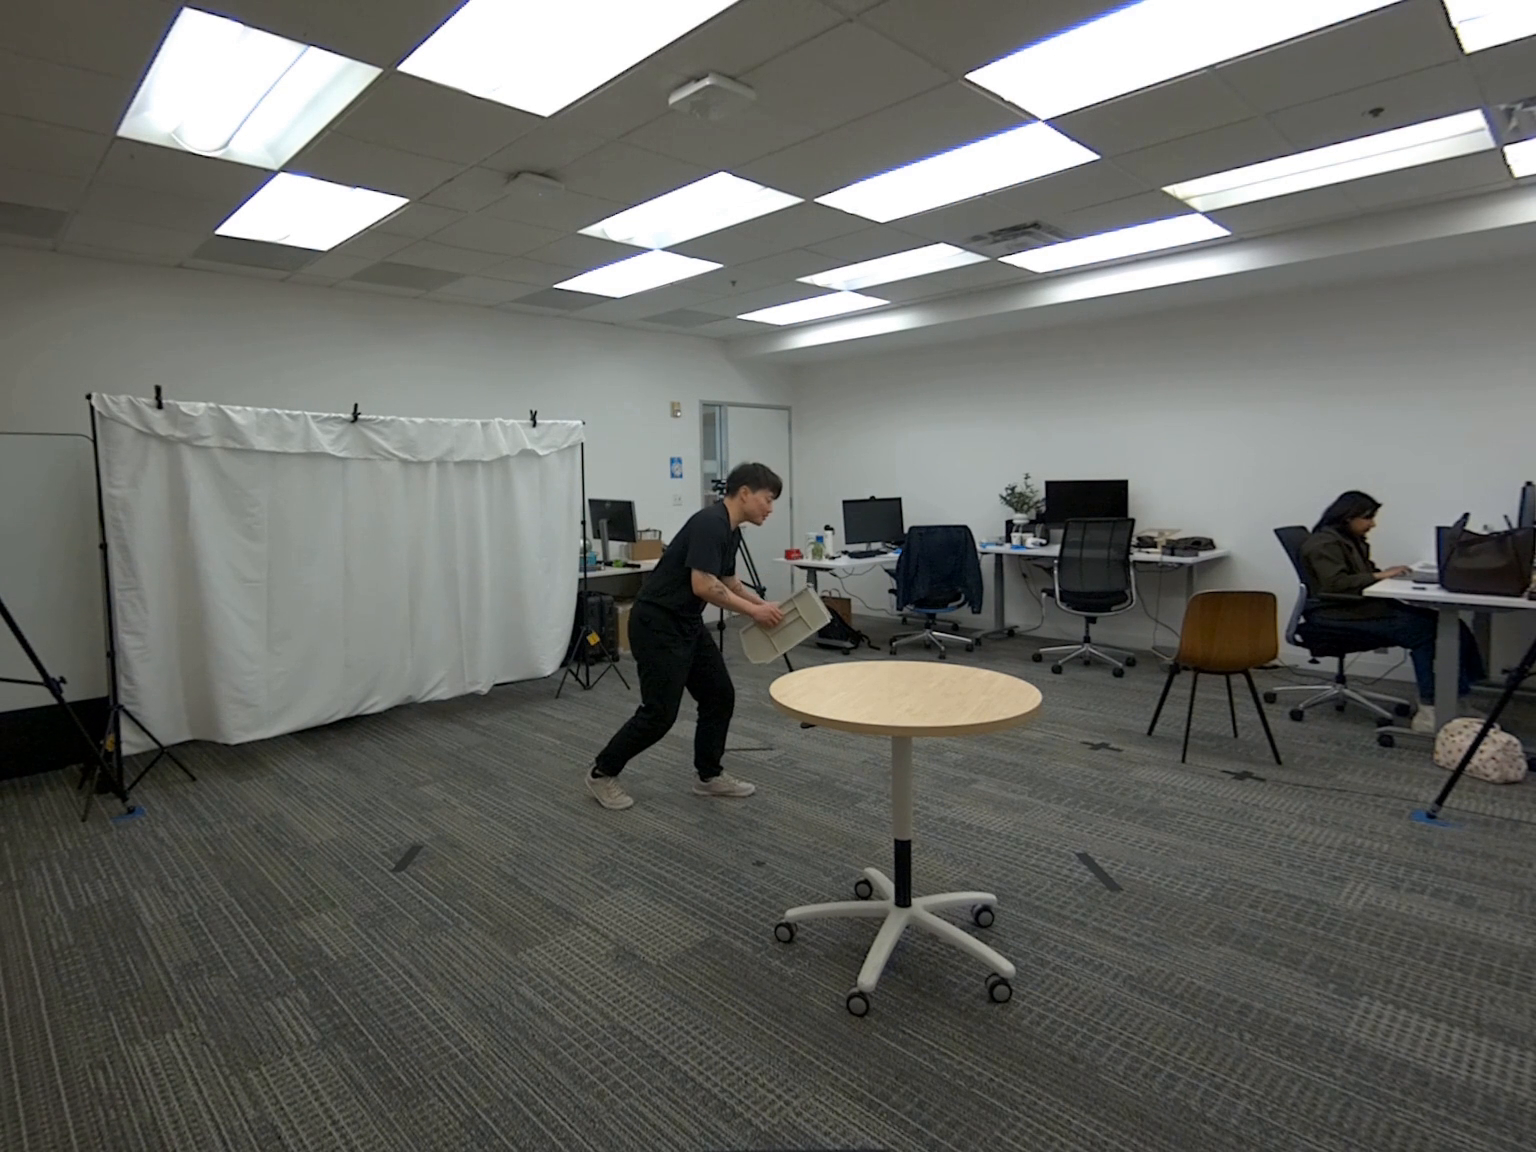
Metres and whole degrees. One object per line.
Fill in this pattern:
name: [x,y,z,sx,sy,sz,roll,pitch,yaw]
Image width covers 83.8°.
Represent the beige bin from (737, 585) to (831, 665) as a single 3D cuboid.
beige bin: [0.079,0.219,3.670,0.378,0.191,0.418,-34,-5,5]
